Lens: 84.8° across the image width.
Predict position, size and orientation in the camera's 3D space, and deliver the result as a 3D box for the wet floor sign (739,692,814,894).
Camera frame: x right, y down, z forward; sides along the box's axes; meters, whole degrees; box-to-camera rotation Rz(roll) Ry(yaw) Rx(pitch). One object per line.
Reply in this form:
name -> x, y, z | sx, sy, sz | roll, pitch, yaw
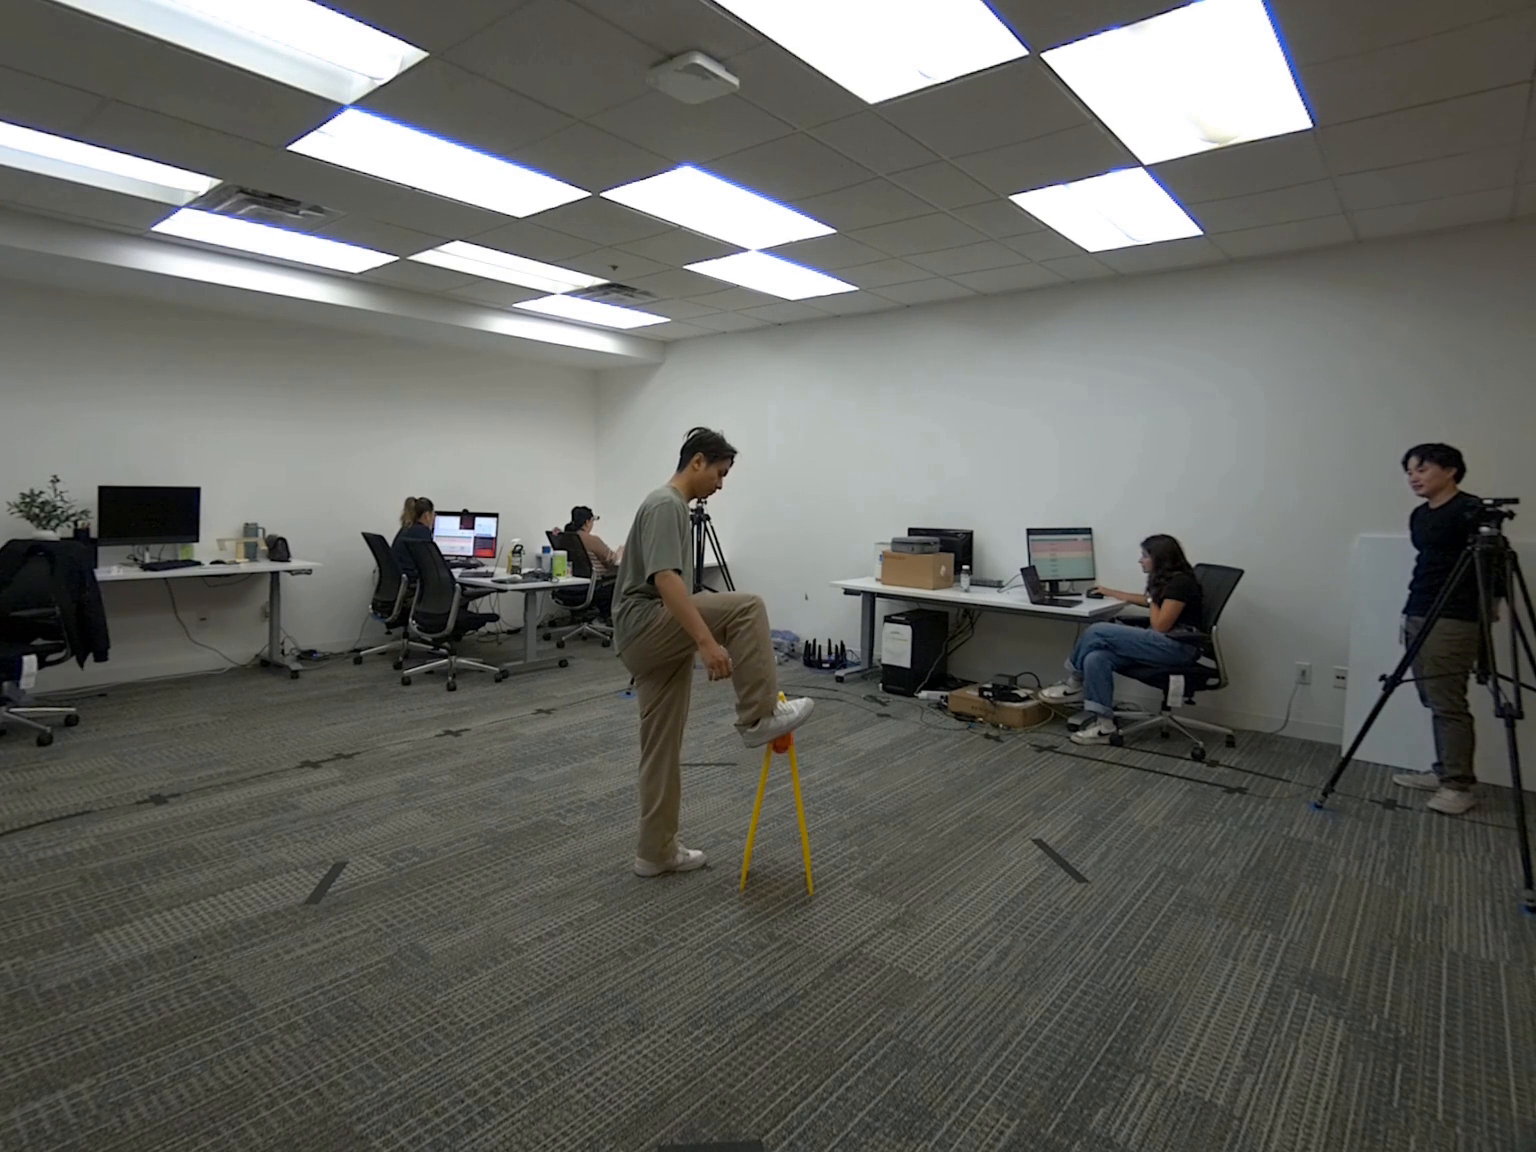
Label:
wet floor sign -> 0.038, 0.748, 3.012 | 0.291, 0.650, 0.279 | 3, -7, 3
